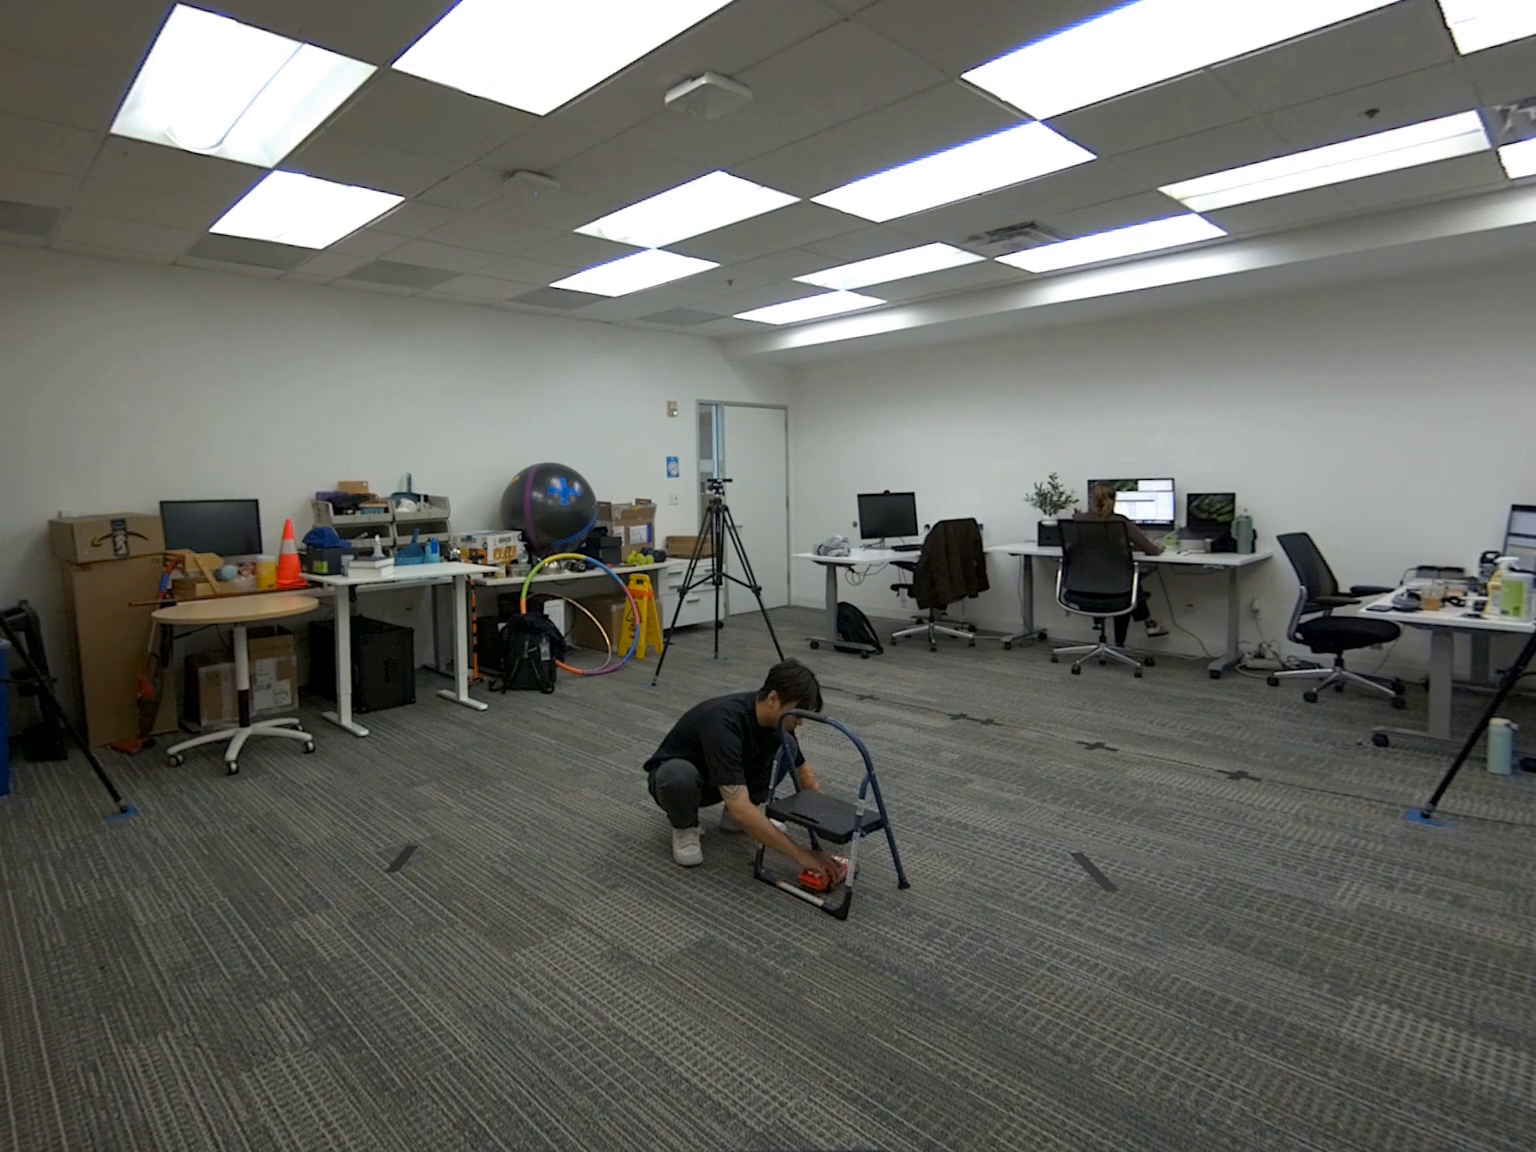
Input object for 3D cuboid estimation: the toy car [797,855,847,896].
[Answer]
[{"bbox_3d":[0.201,1.028,2.955,0.134,0.083,0.246,6,-1,40],"label":"toy car"}]
